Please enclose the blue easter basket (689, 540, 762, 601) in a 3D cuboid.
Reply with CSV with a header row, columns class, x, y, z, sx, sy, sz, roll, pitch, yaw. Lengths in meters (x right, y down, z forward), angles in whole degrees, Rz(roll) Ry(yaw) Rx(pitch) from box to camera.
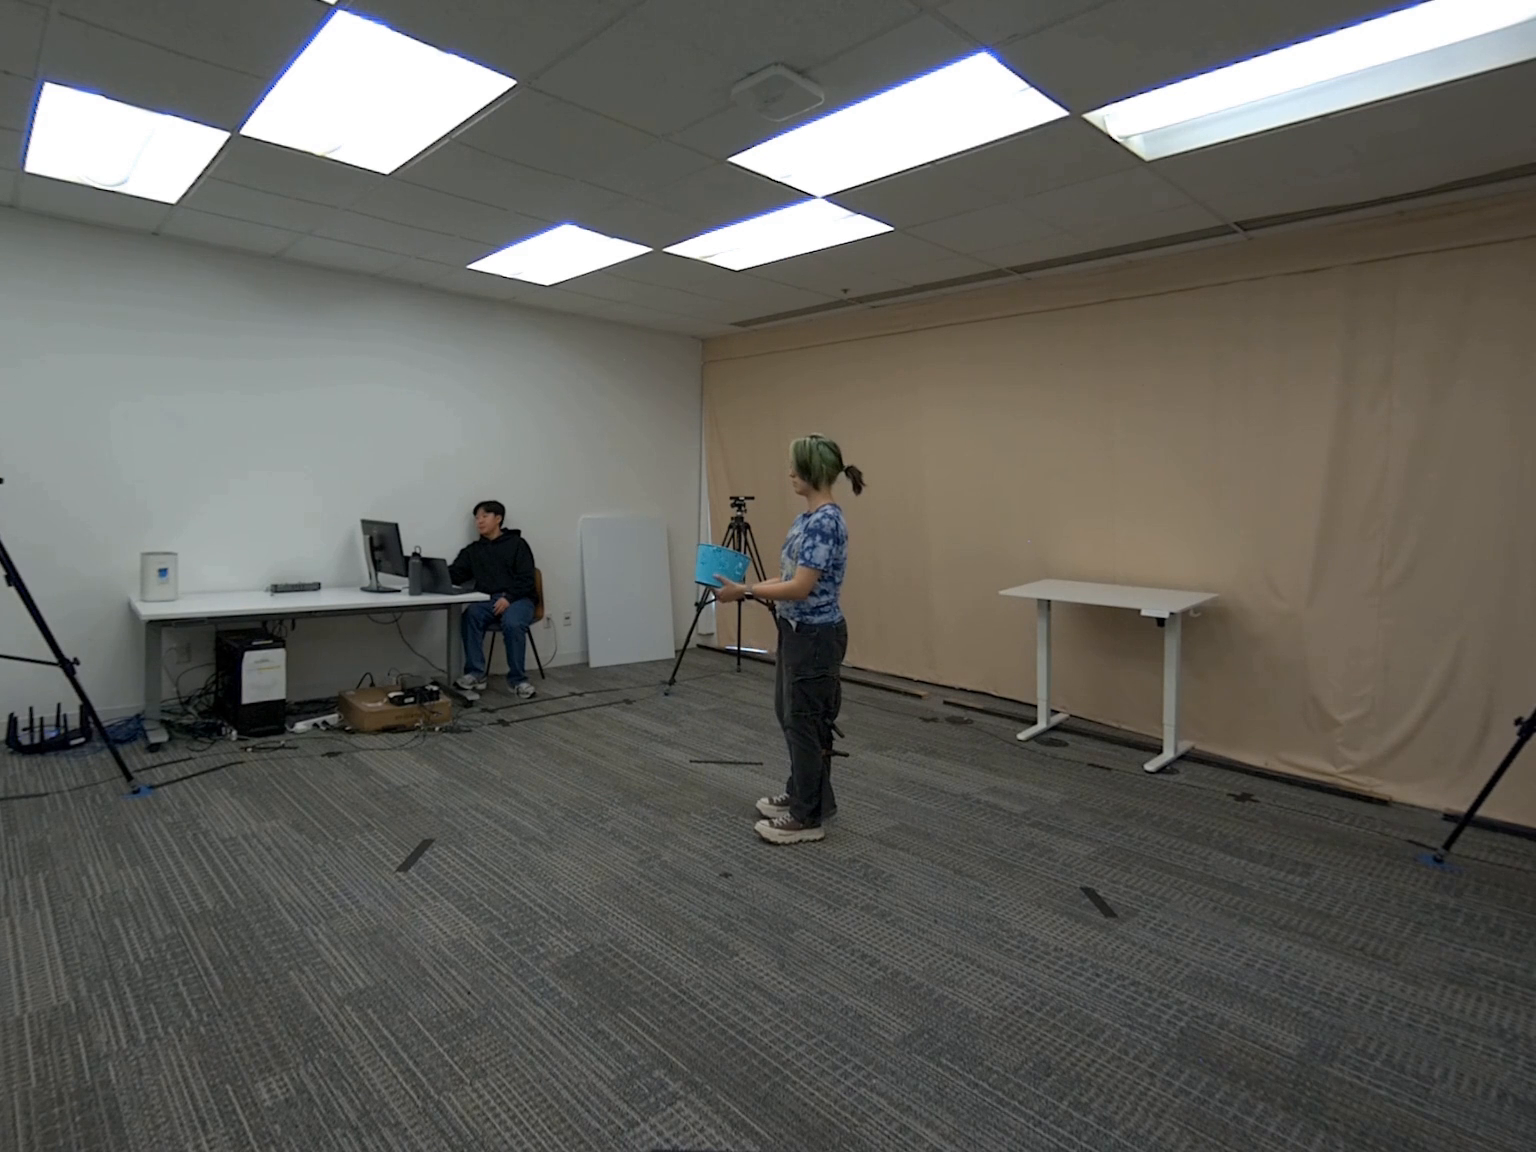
class,x,y,z,sx,sy,sz,roll,pitch,yaw
blue easter basket,-0.173,-0.022,3.417,0.244,0.156,0.242,17,-7,1
